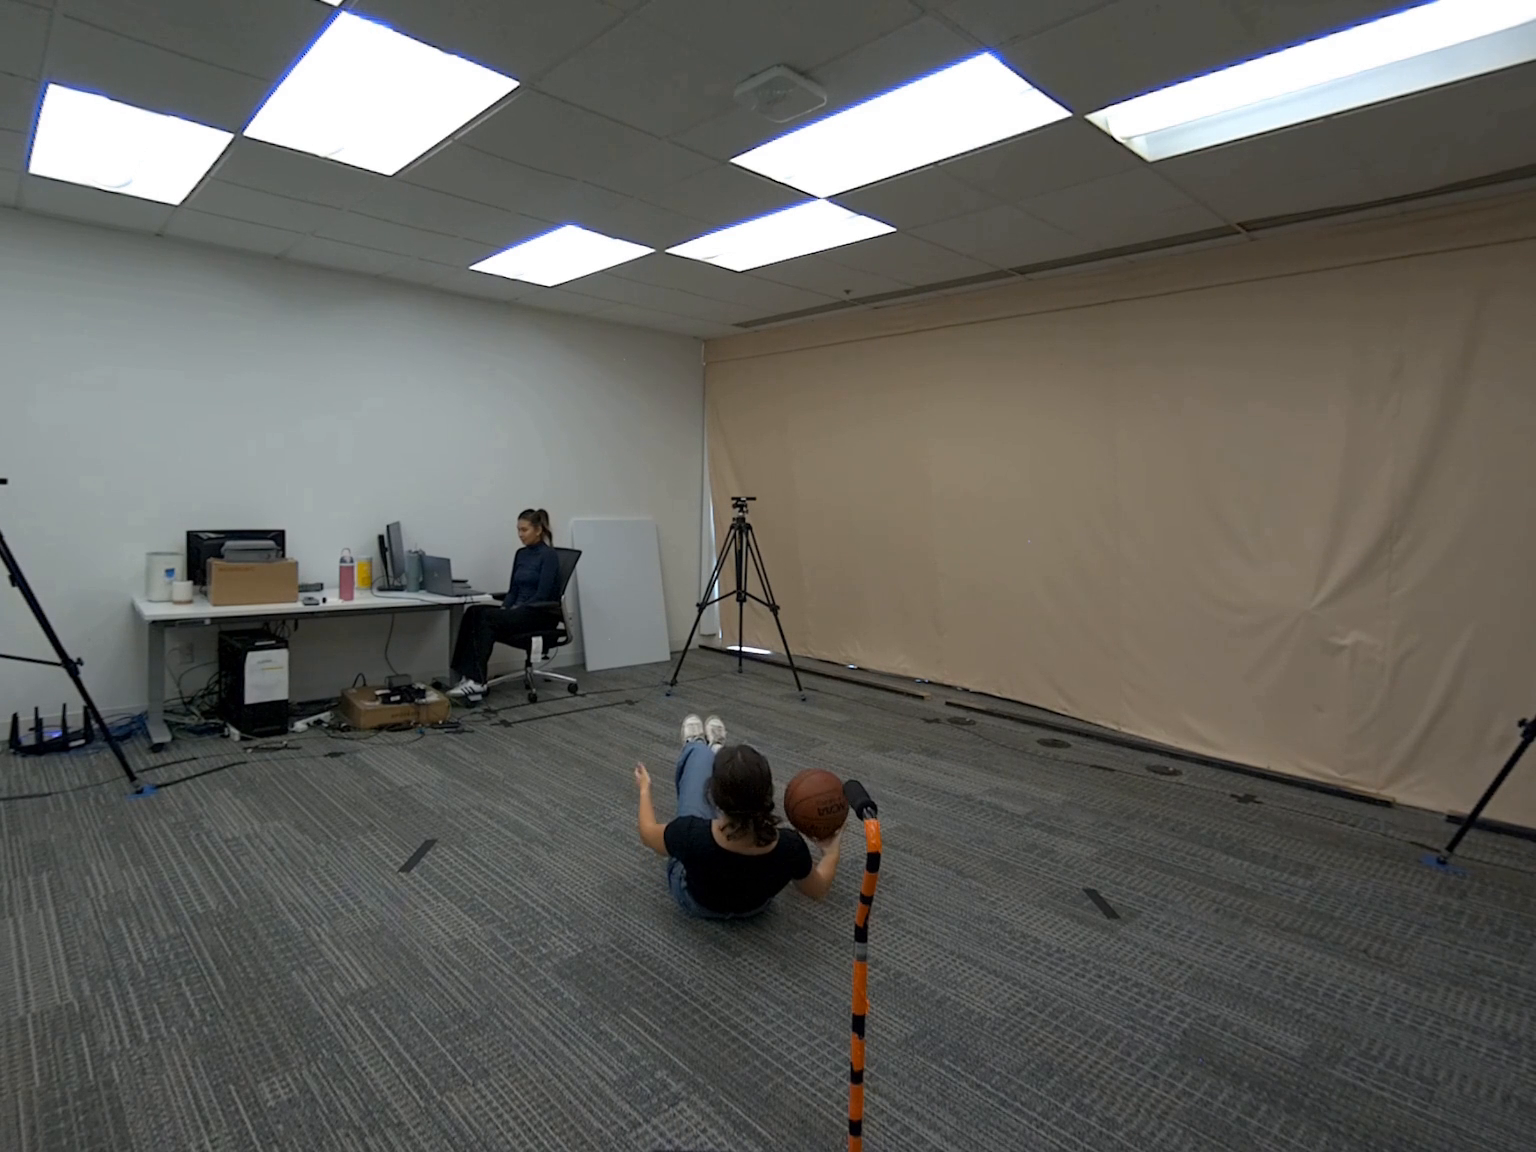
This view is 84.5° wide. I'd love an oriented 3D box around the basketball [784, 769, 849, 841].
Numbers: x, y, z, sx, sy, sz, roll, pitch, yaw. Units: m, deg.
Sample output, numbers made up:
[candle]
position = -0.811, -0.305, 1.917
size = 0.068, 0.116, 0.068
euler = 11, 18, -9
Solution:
[basketball]
position = 0.152, 0.809, 3.048
size = 0.236, 0.235, 0.237
euler = 1, 4, -1
